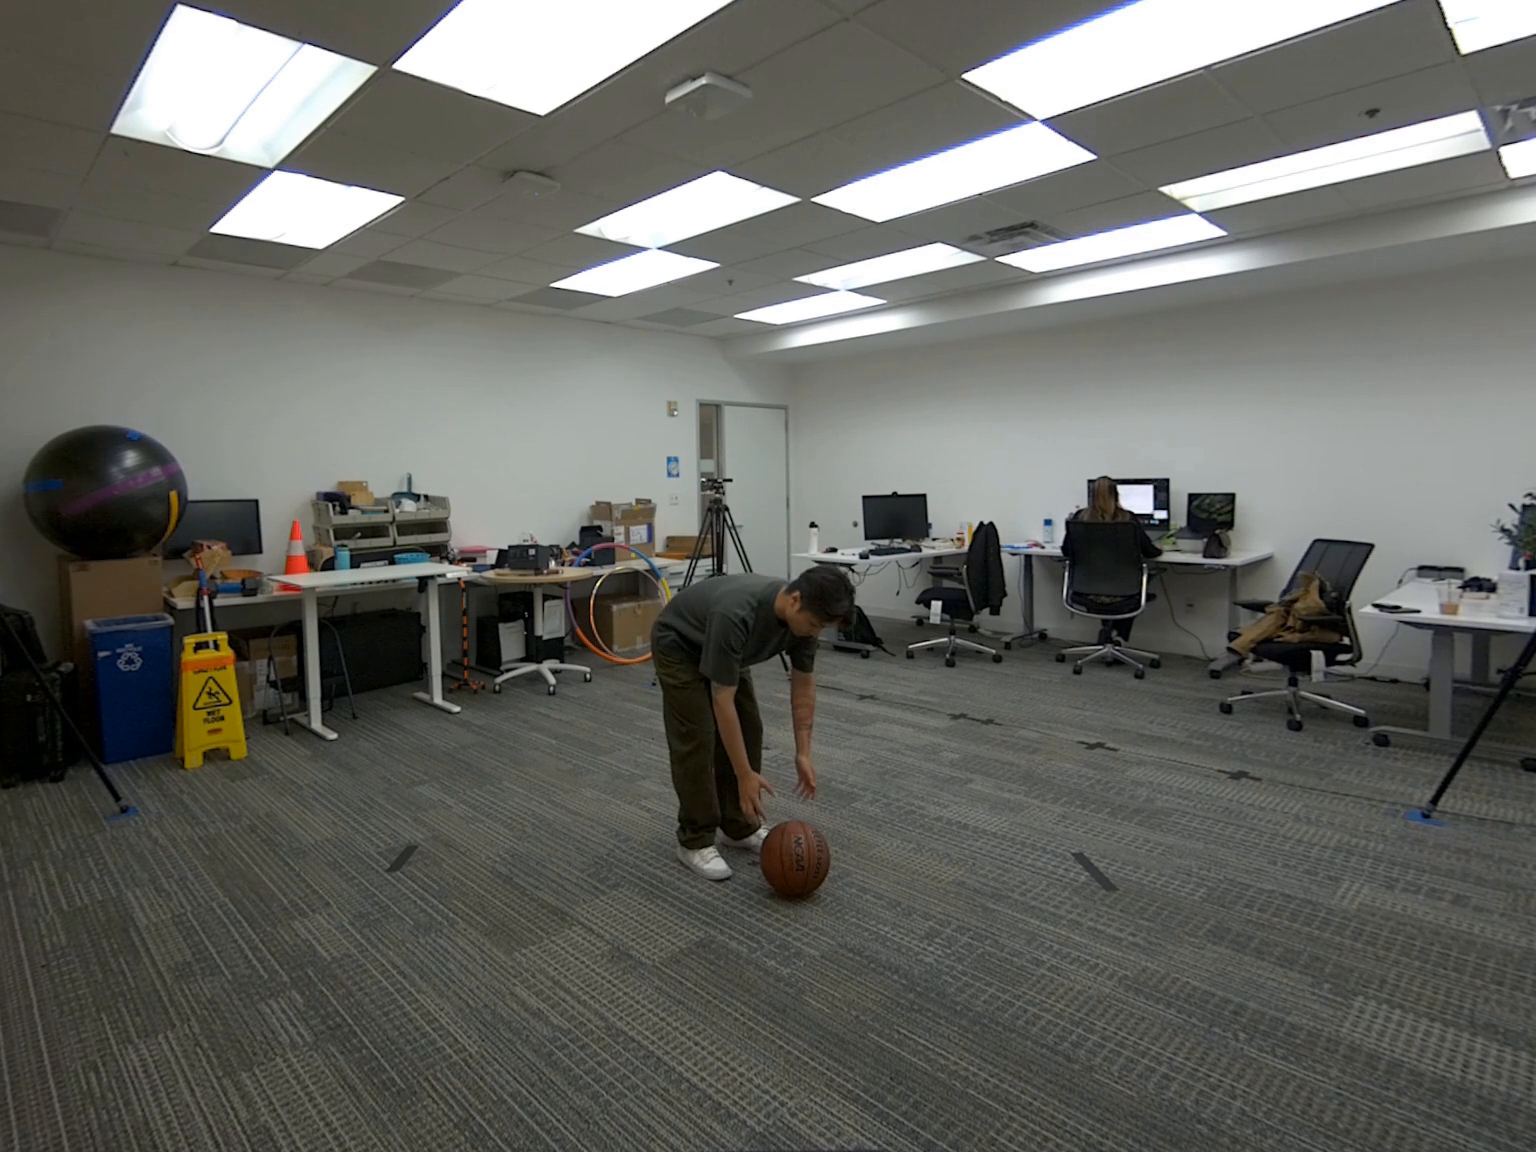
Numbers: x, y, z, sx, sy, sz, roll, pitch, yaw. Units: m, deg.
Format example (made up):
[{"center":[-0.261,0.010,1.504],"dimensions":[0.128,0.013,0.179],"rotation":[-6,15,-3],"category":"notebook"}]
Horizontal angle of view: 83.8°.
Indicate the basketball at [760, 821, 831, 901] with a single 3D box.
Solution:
[{"center":[0.095,0.940,2.873],"dimensions":[0.236,0.235,0.237],"rotation":[-1,5,-2],"category":"basketball"}]
